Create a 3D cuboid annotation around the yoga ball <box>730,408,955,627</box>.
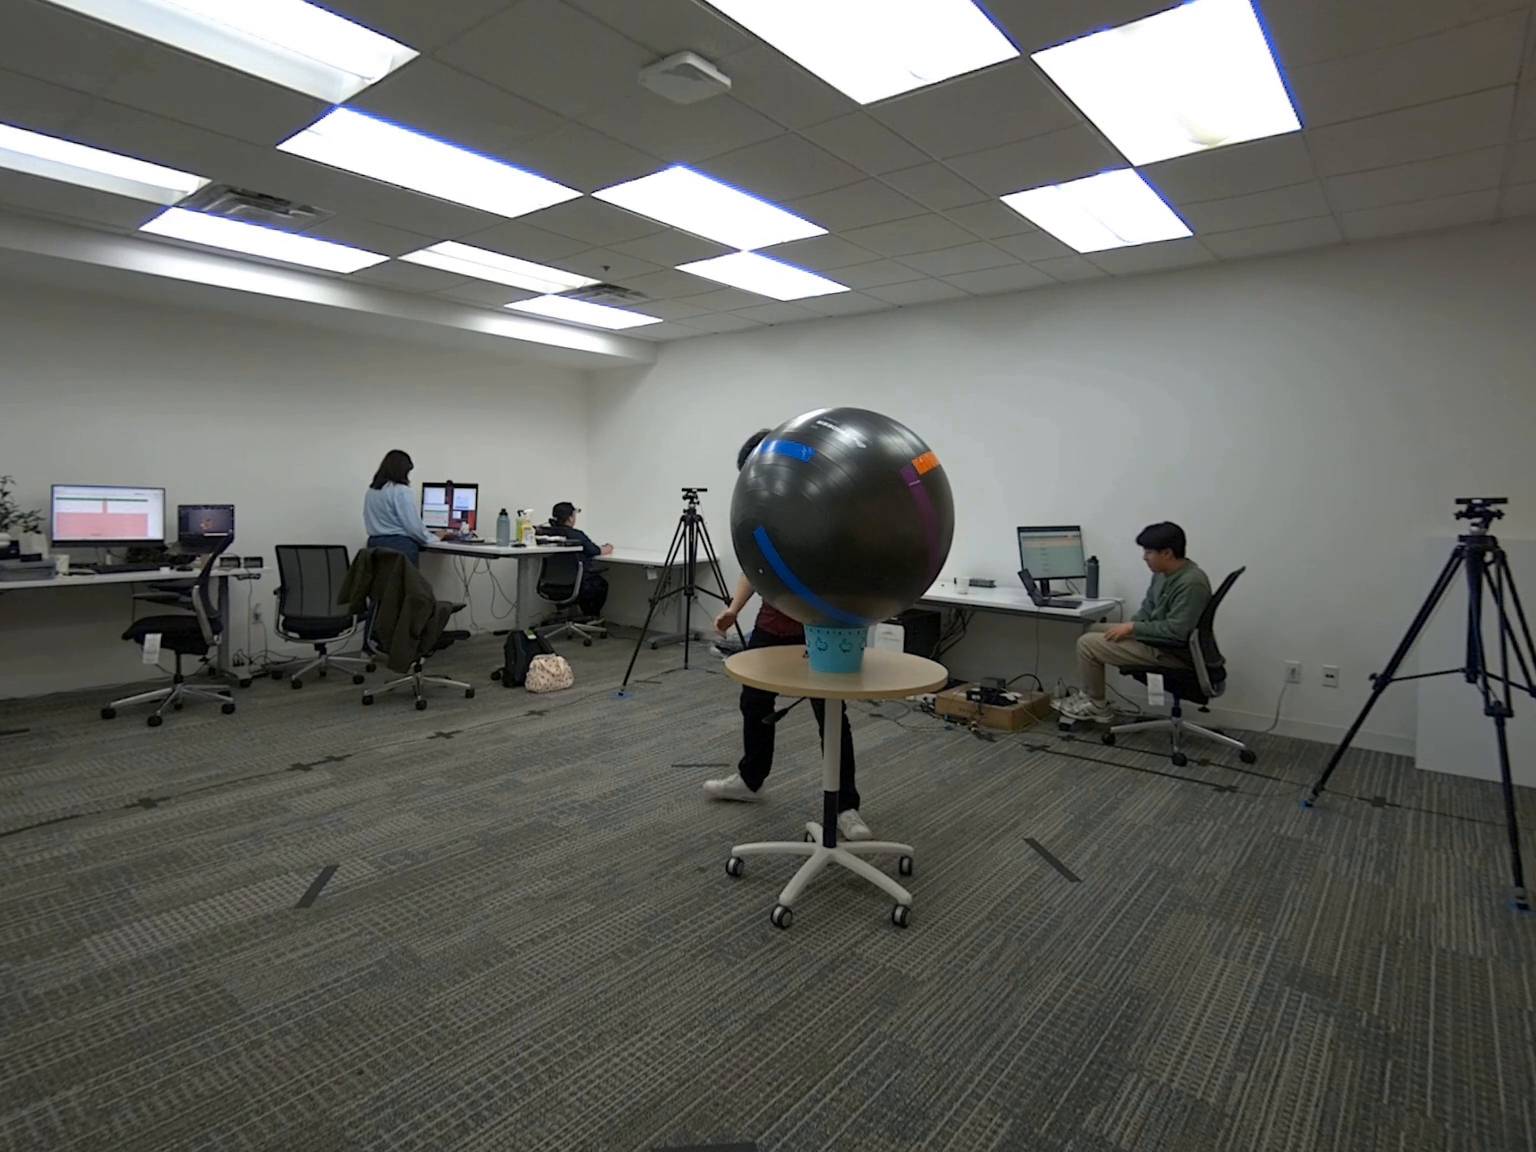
[{"bbox_3d":[0.244,-0.192,2.908,0.757,0.756,0.761,1,4,-2],"label":"yoga ball"}]
